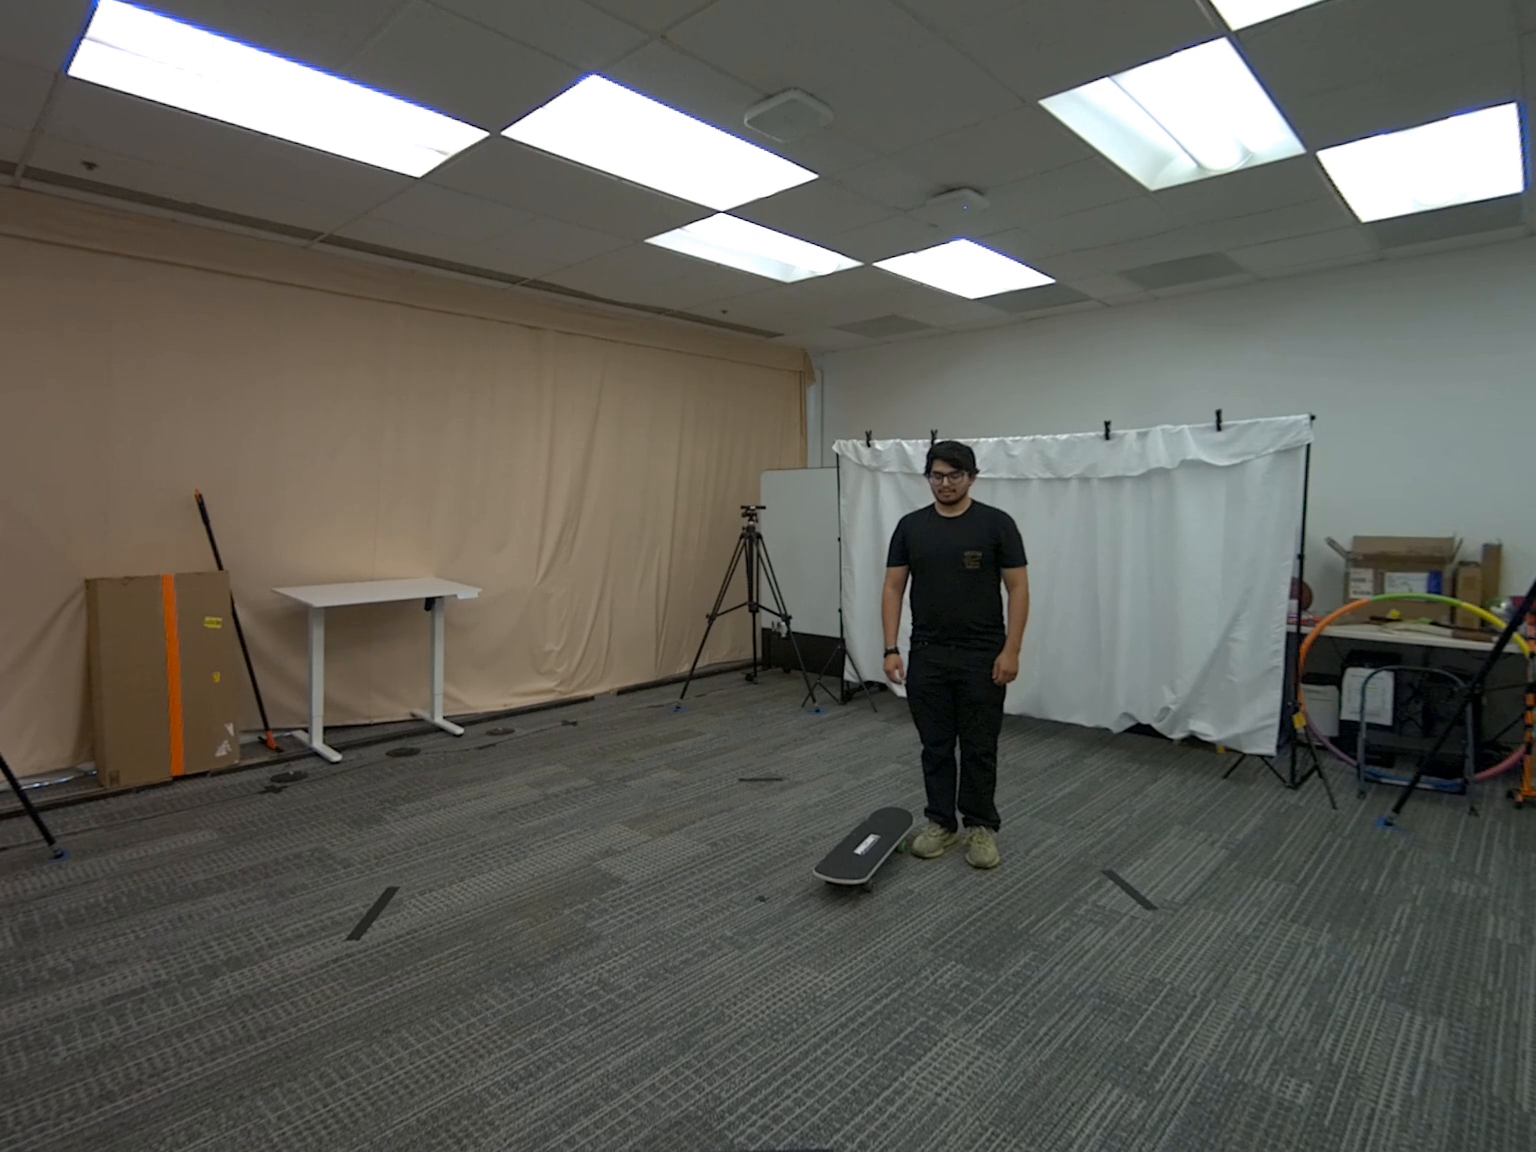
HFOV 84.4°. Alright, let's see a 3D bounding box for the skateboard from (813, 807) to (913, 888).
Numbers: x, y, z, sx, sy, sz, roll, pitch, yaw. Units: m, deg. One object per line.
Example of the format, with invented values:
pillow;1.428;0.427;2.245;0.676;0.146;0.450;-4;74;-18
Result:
skateboard;0.383;1.064;3.234;0.199;0.110;0.766;3;5;26
